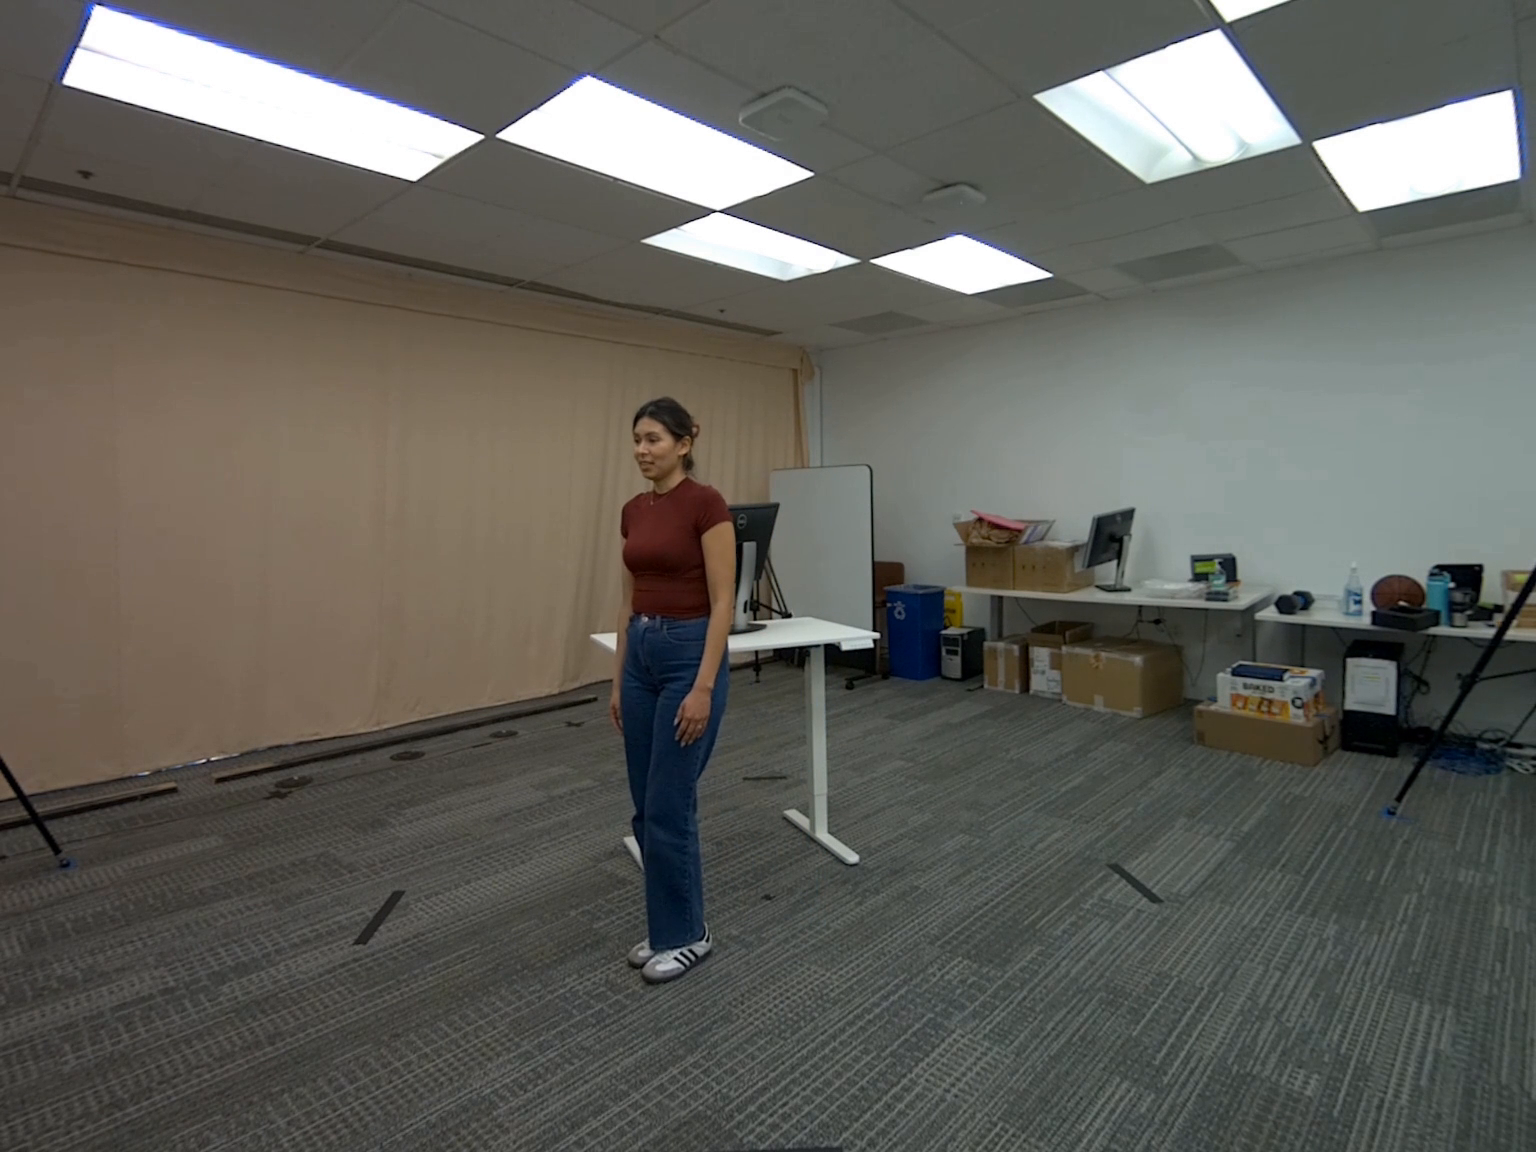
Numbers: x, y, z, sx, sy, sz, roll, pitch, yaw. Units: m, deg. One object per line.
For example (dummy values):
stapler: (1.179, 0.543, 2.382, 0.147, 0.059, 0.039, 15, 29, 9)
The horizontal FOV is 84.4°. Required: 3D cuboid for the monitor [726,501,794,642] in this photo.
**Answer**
monitor: (-0.134, -0.030, 3.410, 0.193, 0.520, 0.524, 6, 8, 36)
